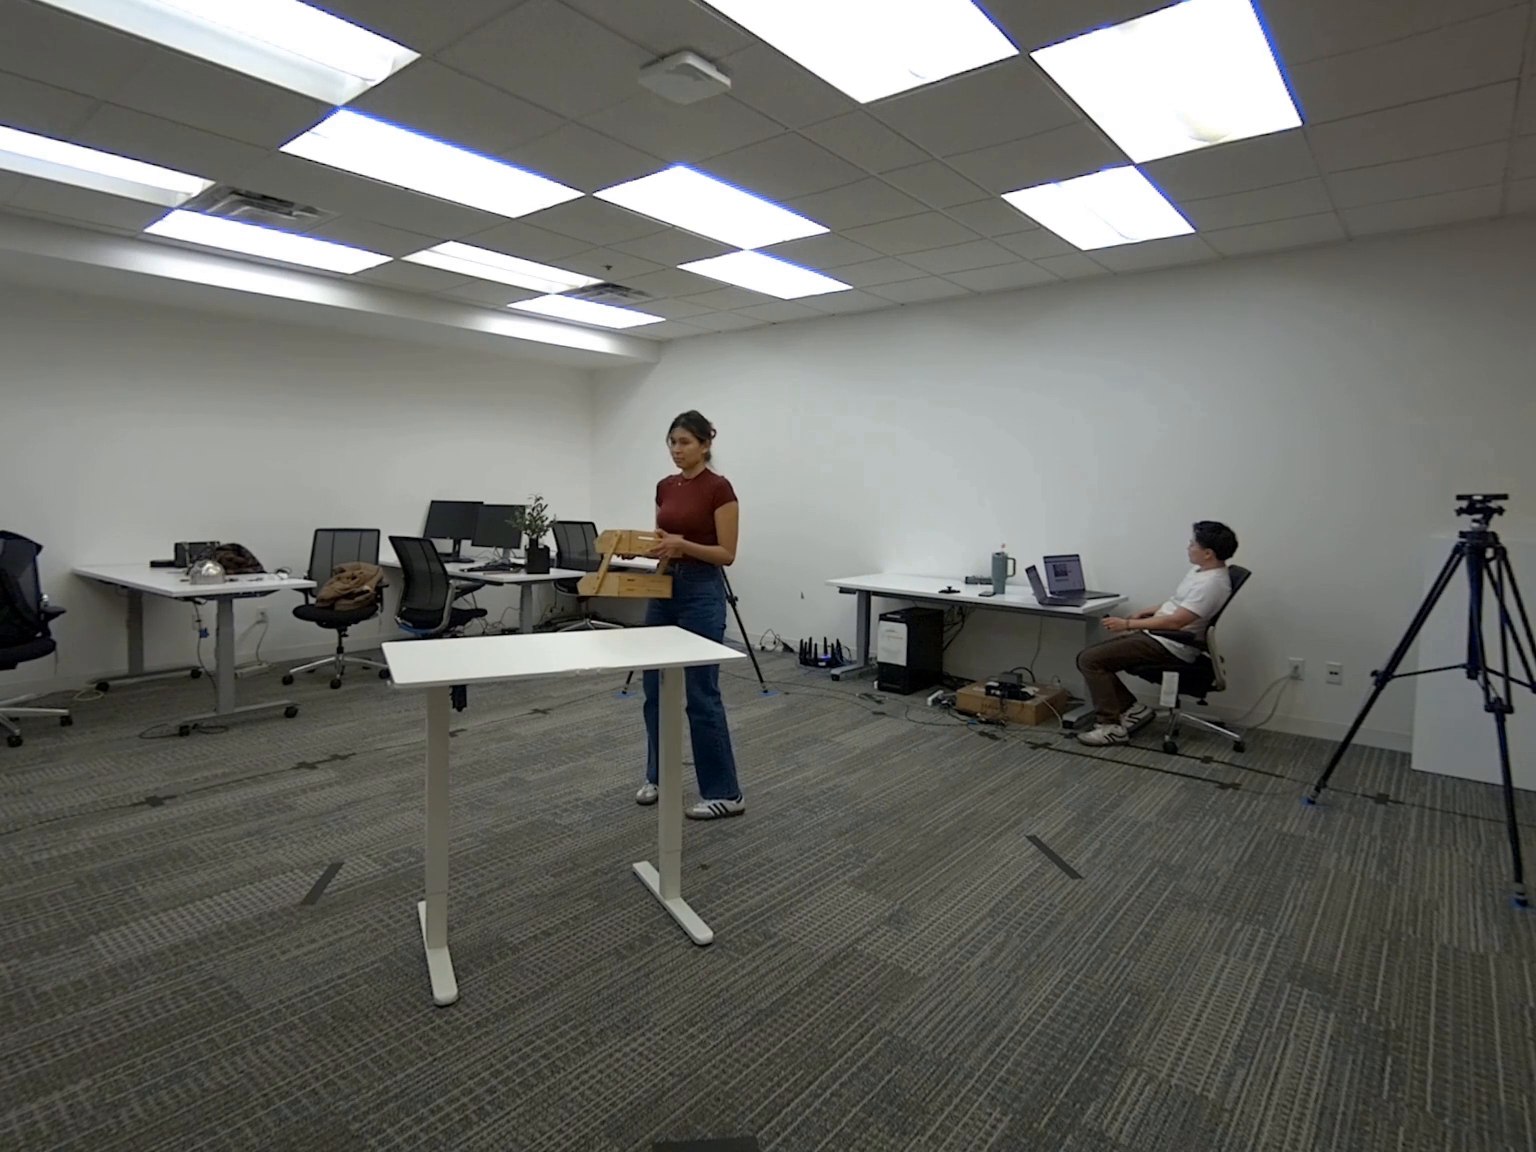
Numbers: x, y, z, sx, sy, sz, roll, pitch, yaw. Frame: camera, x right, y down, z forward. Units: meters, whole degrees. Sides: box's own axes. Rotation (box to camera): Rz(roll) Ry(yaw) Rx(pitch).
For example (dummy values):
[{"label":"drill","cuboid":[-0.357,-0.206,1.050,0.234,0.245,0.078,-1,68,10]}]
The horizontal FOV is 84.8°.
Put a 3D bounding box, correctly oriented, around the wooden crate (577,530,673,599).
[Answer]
[{"label":"wooden crate","cuboid":[-0.576,-0.053,3.495,0.312,0.274,0.313,1,-3,39]}]
